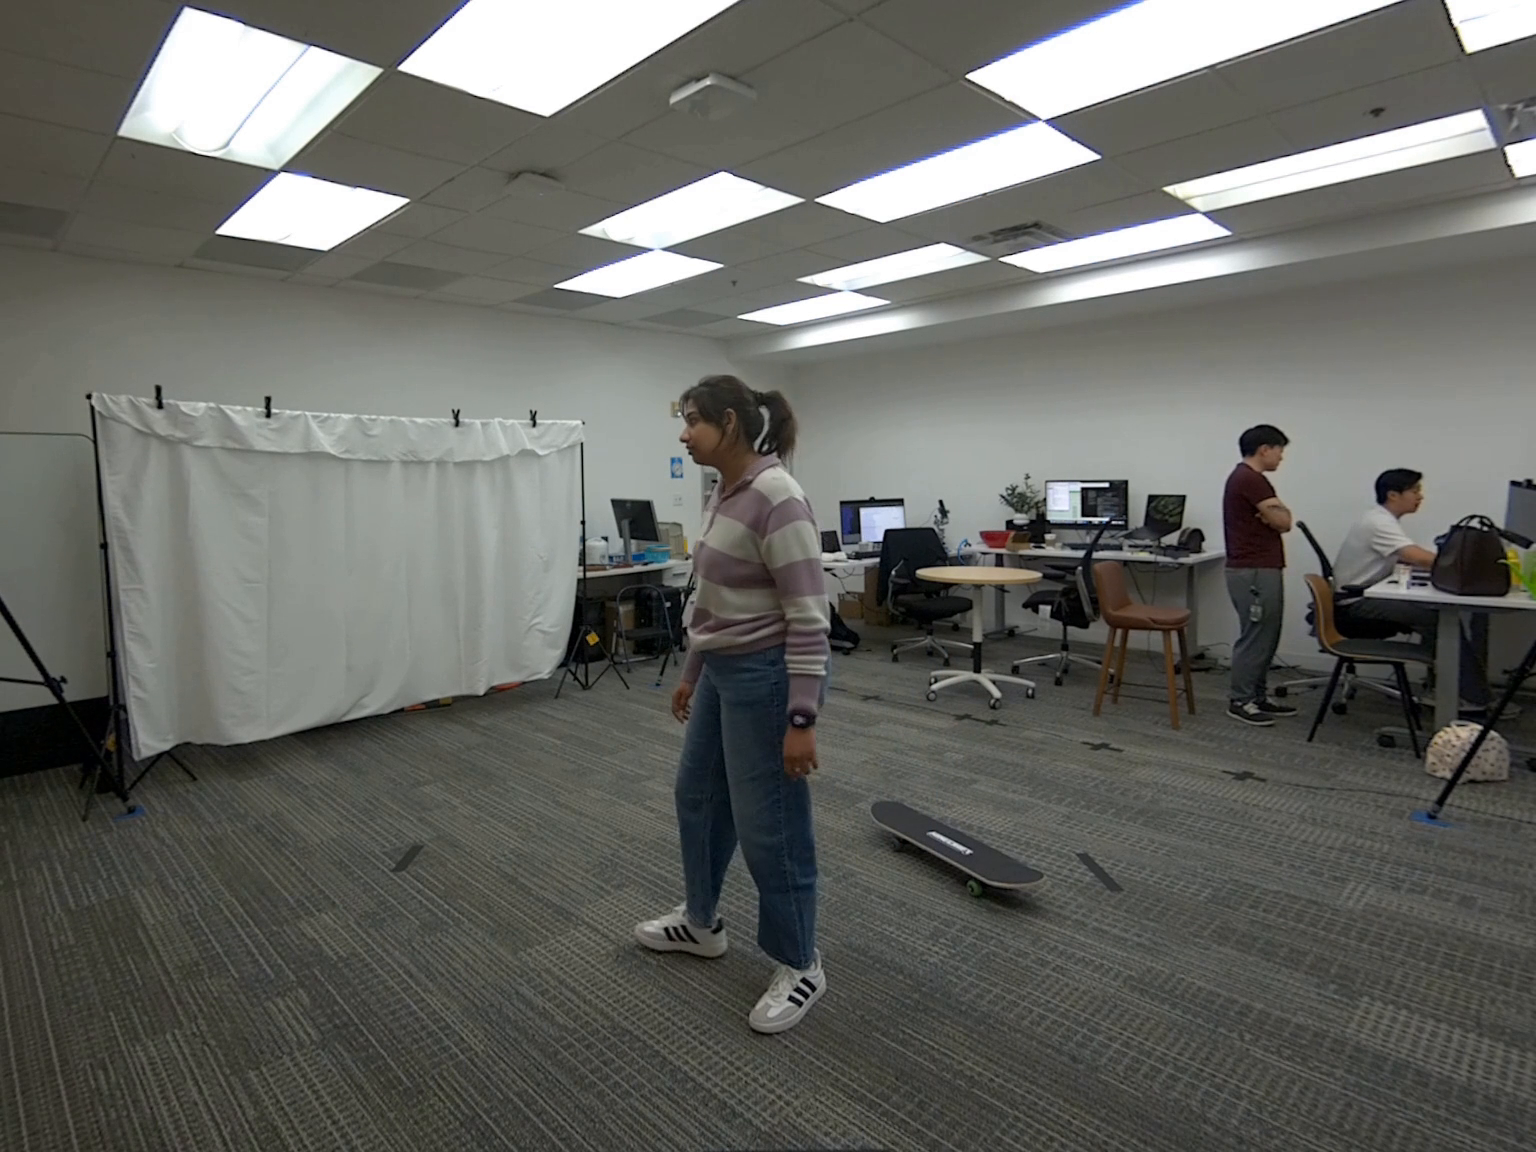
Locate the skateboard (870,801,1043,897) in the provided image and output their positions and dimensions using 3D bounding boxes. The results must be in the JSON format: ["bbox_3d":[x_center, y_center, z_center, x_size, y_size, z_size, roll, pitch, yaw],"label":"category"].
[{"bbox_3d":[0.648,0.984,3.050,0.189,0.110,0.807,-5,7,-30],"label":"skateboard"}]
